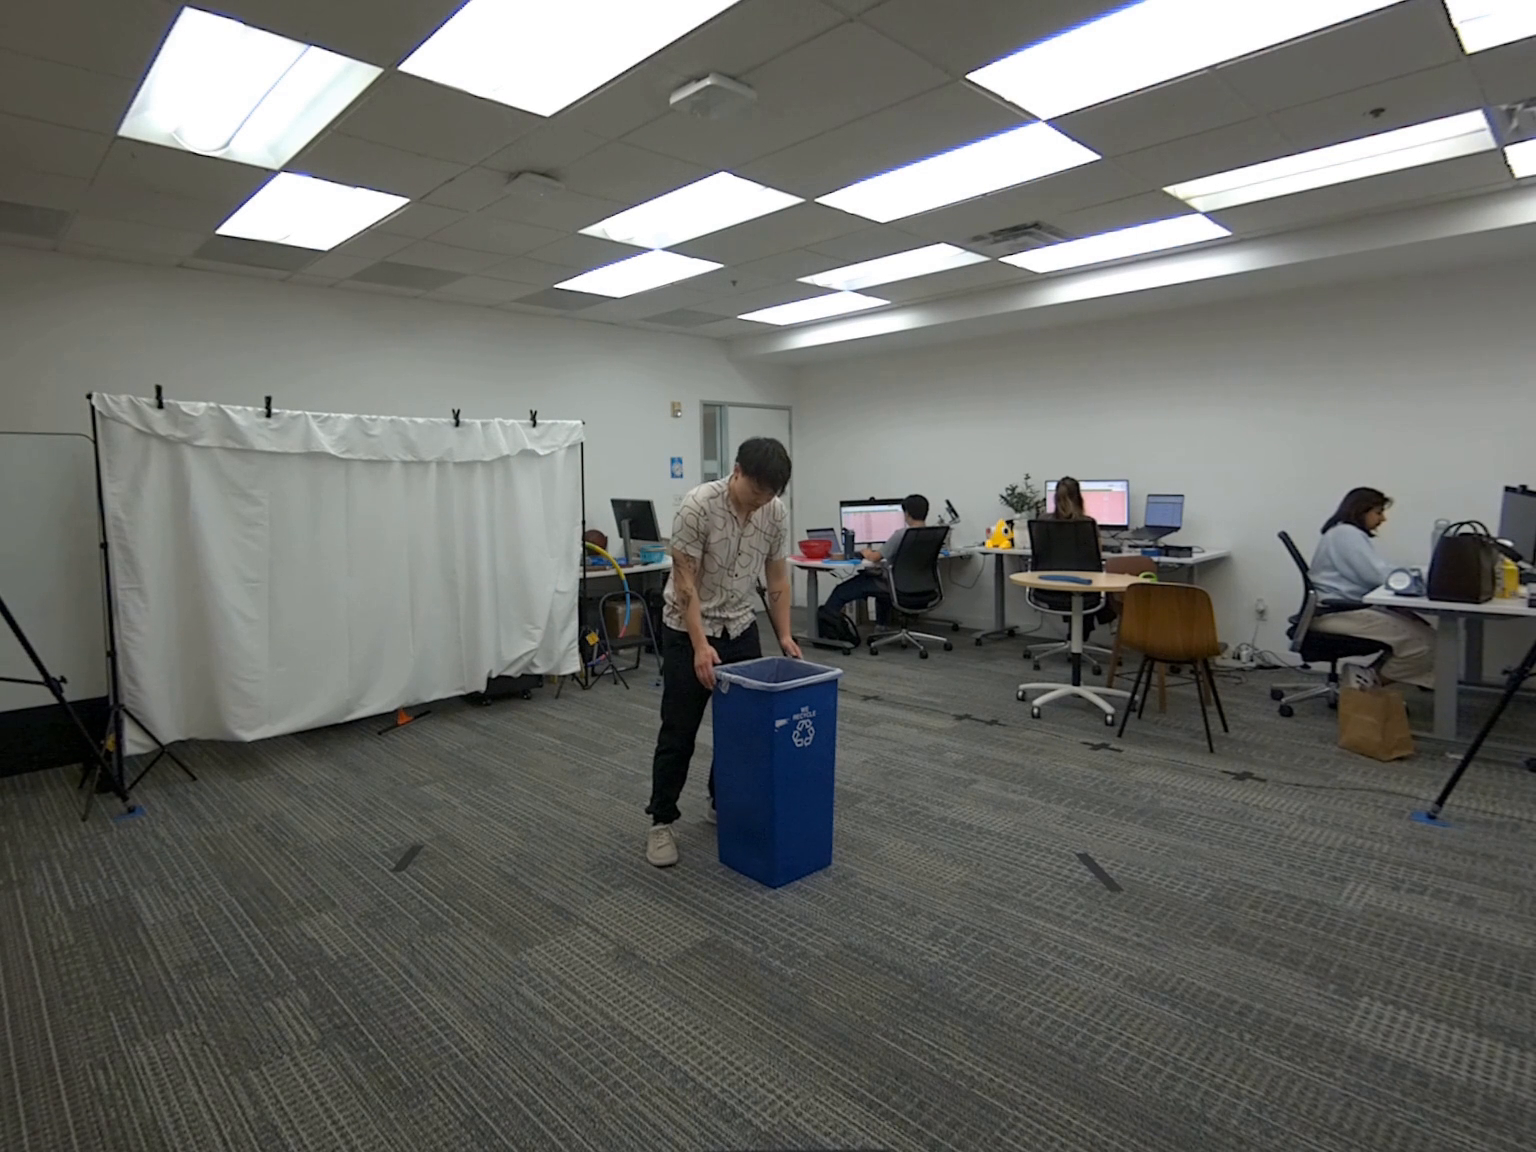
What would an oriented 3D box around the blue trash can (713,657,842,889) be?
[{"bbox_3d":[0.035,0.691,3.088,0.368,0.711,0.385,-4,5,-42],"label":"blue trash can"}]
